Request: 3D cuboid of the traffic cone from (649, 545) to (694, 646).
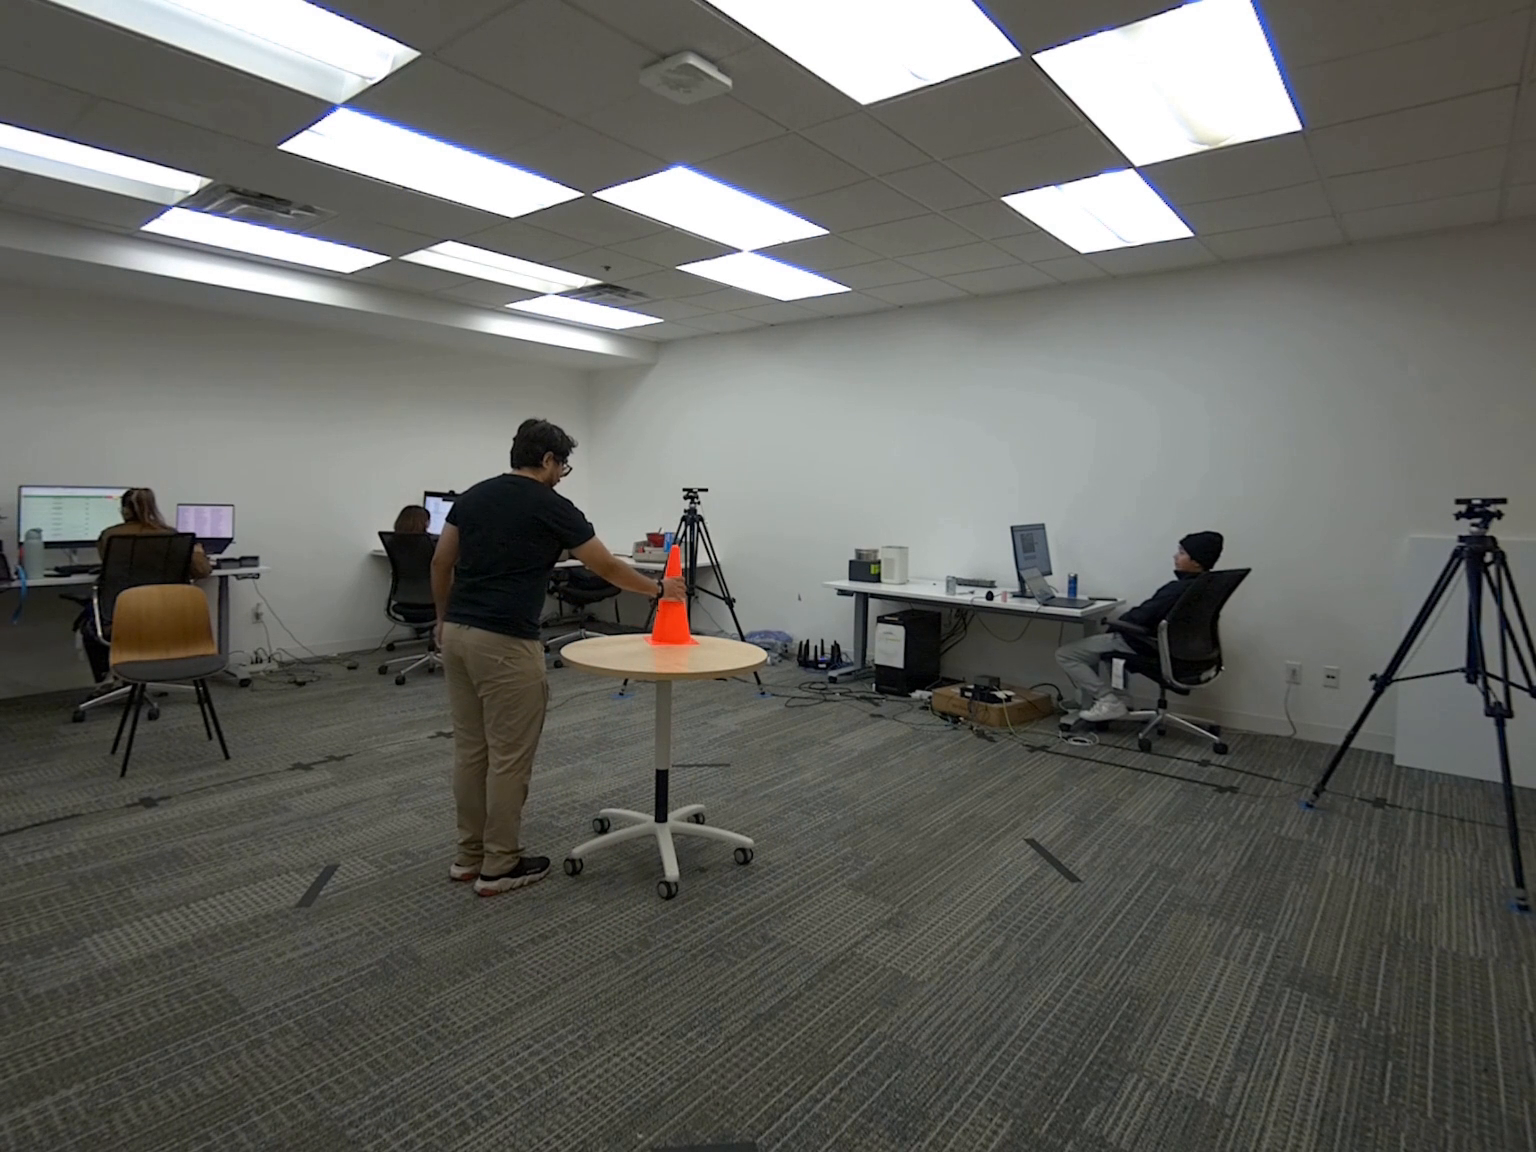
[{"bbox_3d":[-0.400,0.062,3.390,0.200,0.382,0.209,1,4,-16],"label":"traffic cone"}]
